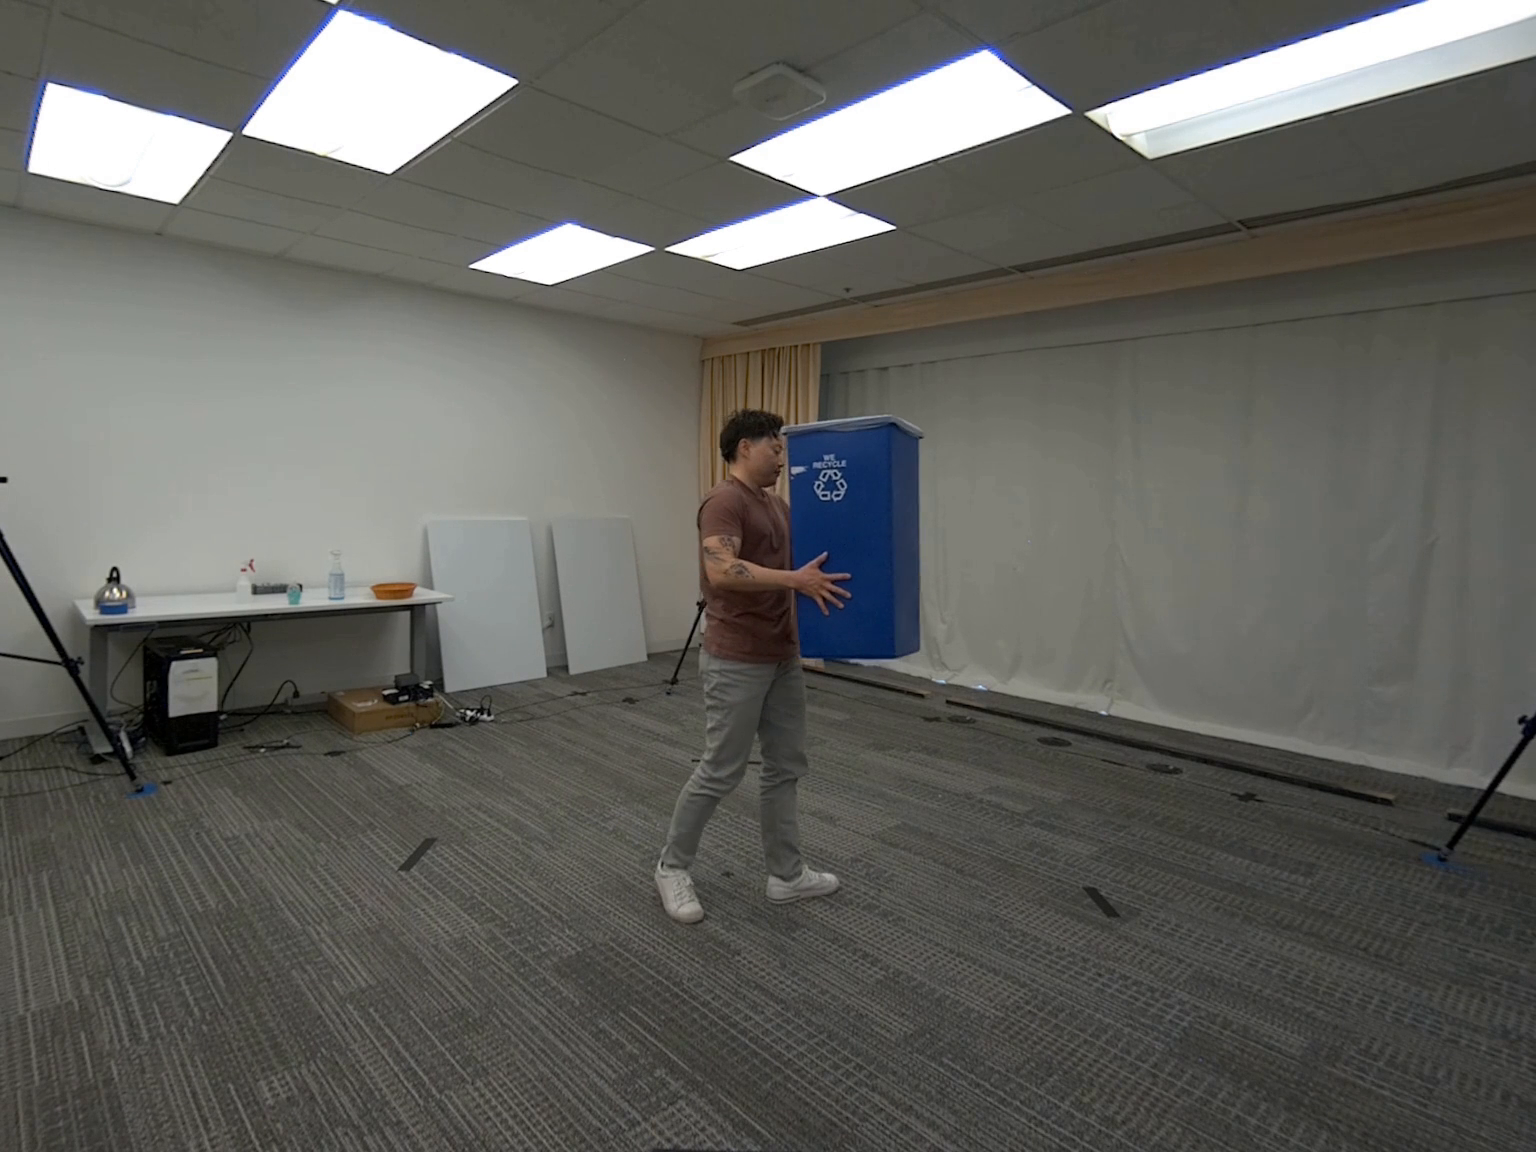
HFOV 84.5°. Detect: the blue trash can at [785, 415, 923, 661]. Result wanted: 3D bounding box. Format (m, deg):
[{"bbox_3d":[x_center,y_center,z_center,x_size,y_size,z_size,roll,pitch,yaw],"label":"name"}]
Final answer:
[{"bbox_3d":[0.279,-0.110,2.658,0.380,0.715,0.371,-4,-2,26],"label":"blue trash can"}]
